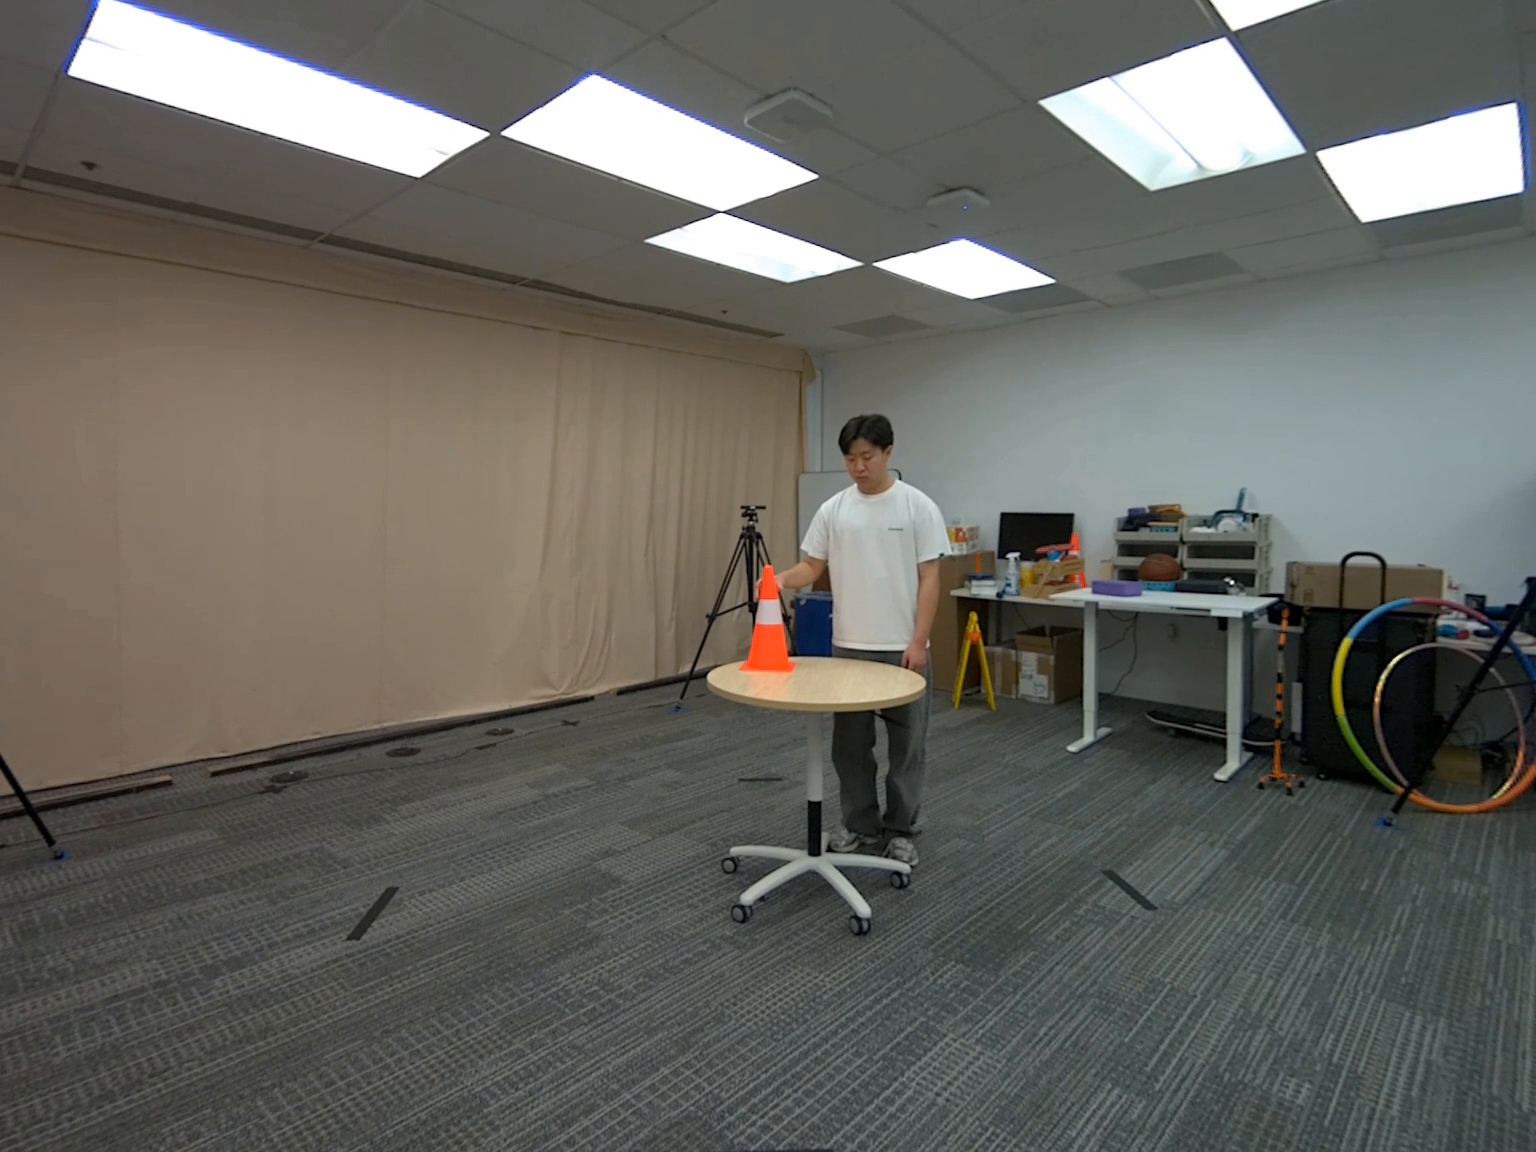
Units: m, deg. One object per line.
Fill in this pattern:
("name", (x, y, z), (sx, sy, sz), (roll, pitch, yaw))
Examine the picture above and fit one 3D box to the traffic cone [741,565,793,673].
("traffic cone", (0.011, 0.149, 3.166), (0.207, 0.383, 0.201), (0, 2, 9))
